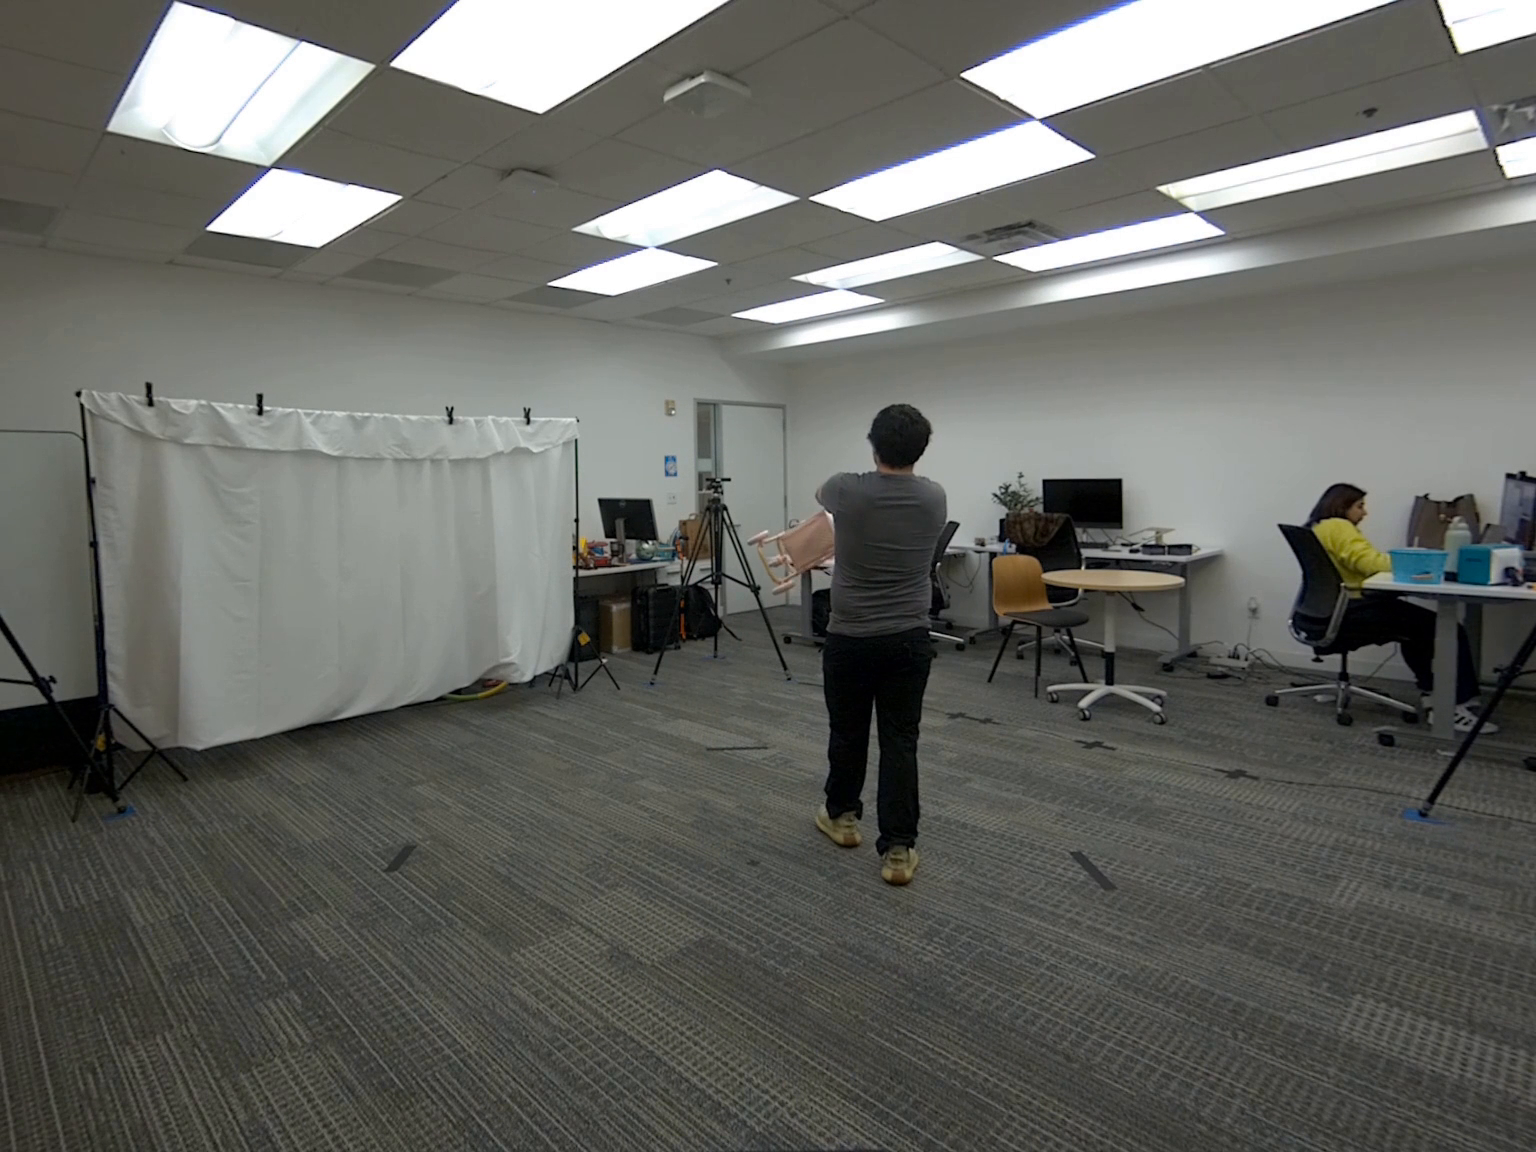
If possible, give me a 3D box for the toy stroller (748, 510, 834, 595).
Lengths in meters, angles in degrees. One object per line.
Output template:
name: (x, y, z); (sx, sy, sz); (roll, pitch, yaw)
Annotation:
toy stroller: (0.174, -0.133, 3.827); (0.539, 0.285, 0.334); (-29, -9, 25)
